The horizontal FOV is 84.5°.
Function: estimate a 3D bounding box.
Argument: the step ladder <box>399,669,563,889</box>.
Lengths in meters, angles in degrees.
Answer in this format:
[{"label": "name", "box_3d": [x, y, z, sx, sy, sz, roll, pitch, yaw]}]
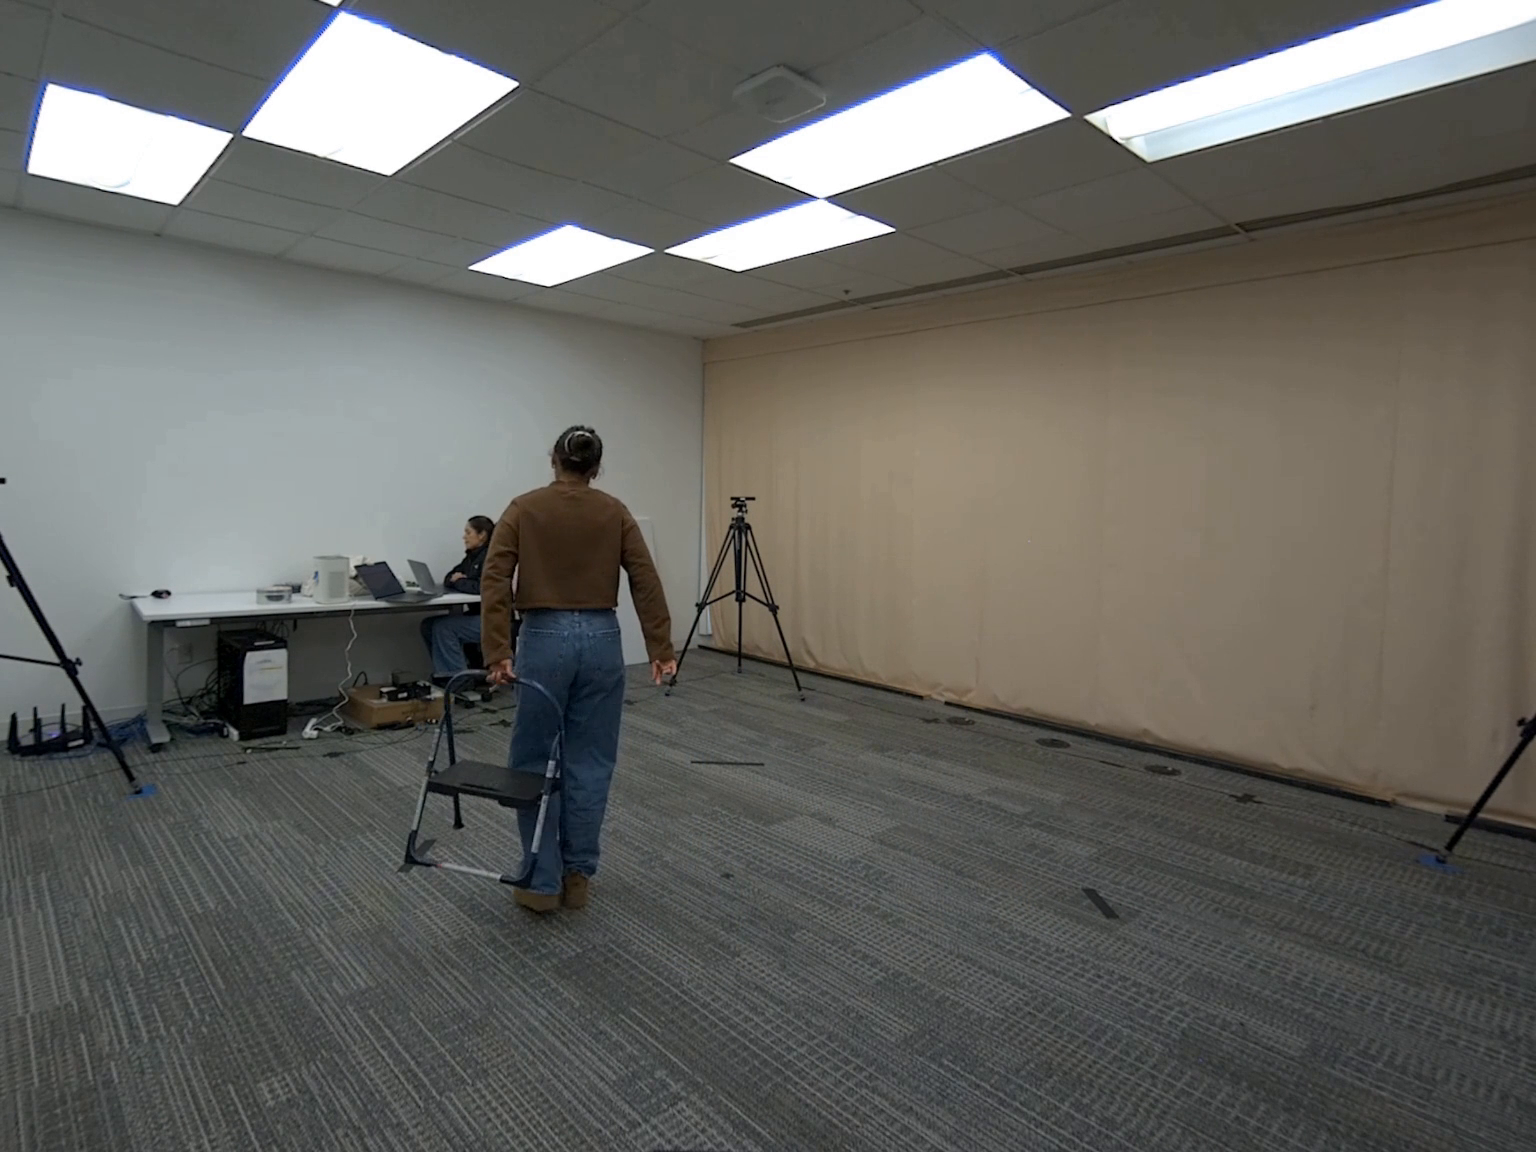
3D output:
[{"label": "step ladder", "box_3d": [-0.867, 0.607, 2.678, 0.434, 0.605, 0.347, 8, 2, 9]}]
